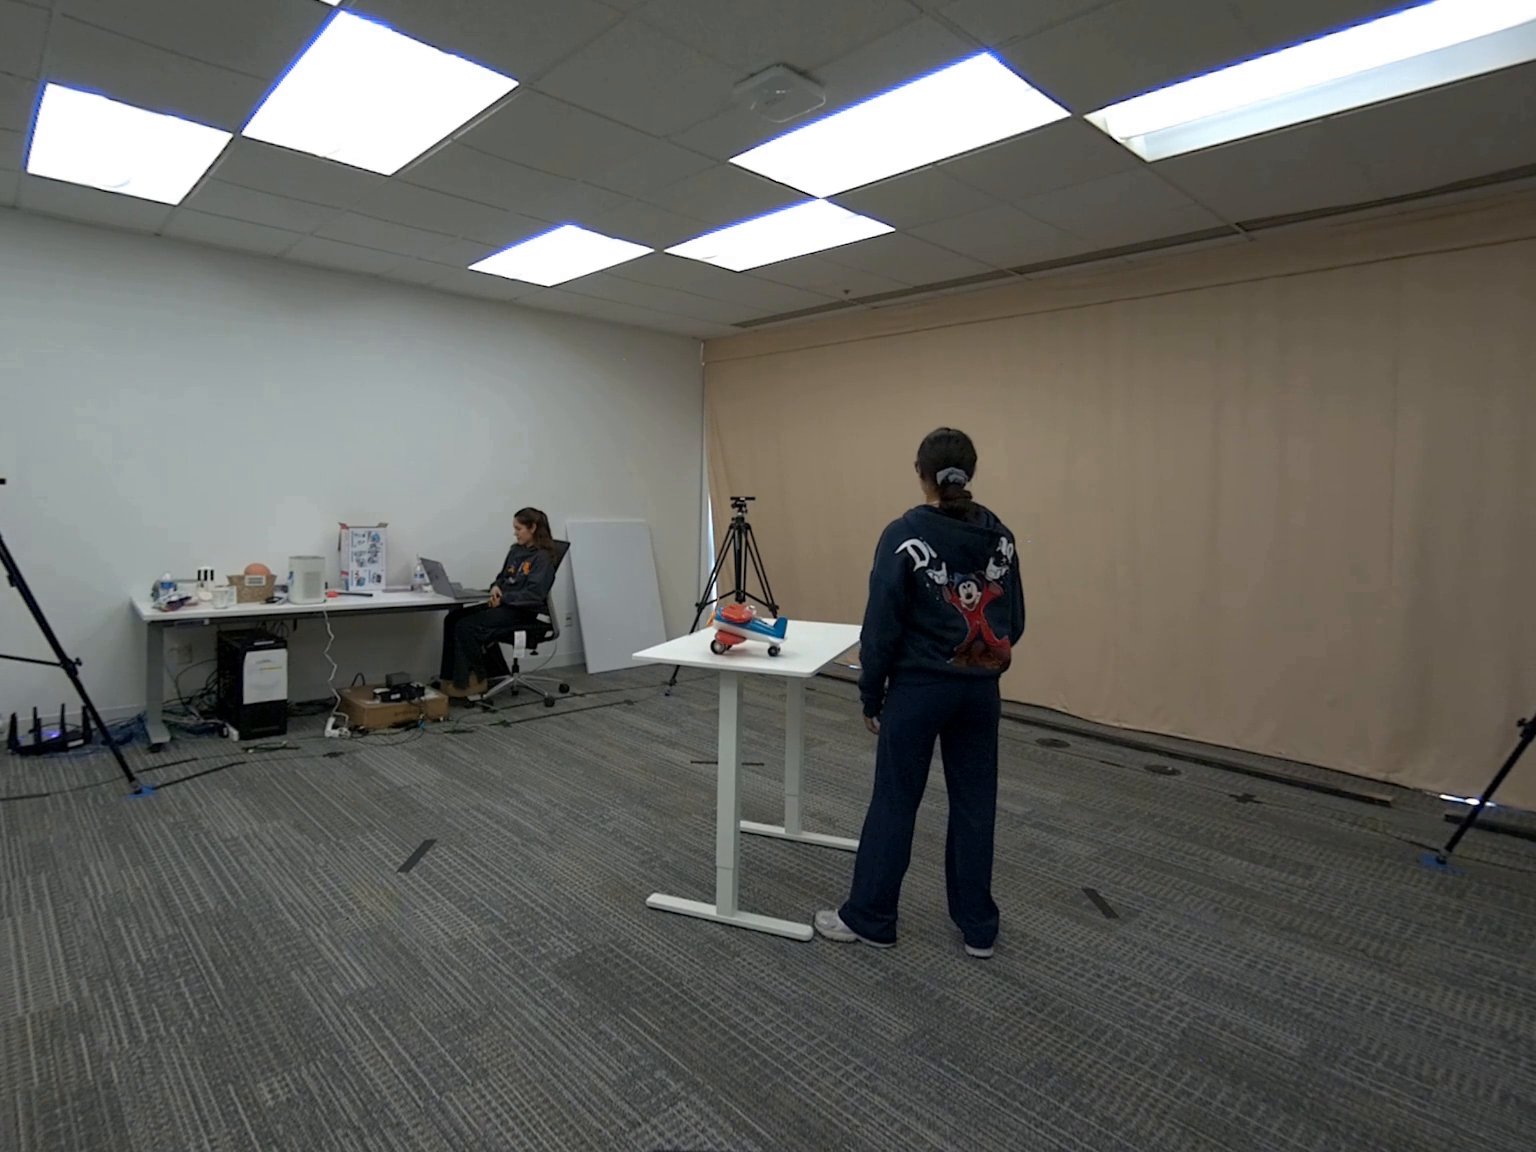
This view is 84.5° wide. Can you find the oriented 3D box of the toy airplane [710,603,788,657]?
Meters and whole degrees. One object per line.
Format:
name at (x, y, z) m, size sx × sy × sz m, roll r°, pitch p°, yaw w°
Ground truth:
toy airplane at (-0.068, 0.182, 2.796) m, size 0.256 × 0.156 × 0.254 m, roll 0°, pitch 4°, yaw -14°
